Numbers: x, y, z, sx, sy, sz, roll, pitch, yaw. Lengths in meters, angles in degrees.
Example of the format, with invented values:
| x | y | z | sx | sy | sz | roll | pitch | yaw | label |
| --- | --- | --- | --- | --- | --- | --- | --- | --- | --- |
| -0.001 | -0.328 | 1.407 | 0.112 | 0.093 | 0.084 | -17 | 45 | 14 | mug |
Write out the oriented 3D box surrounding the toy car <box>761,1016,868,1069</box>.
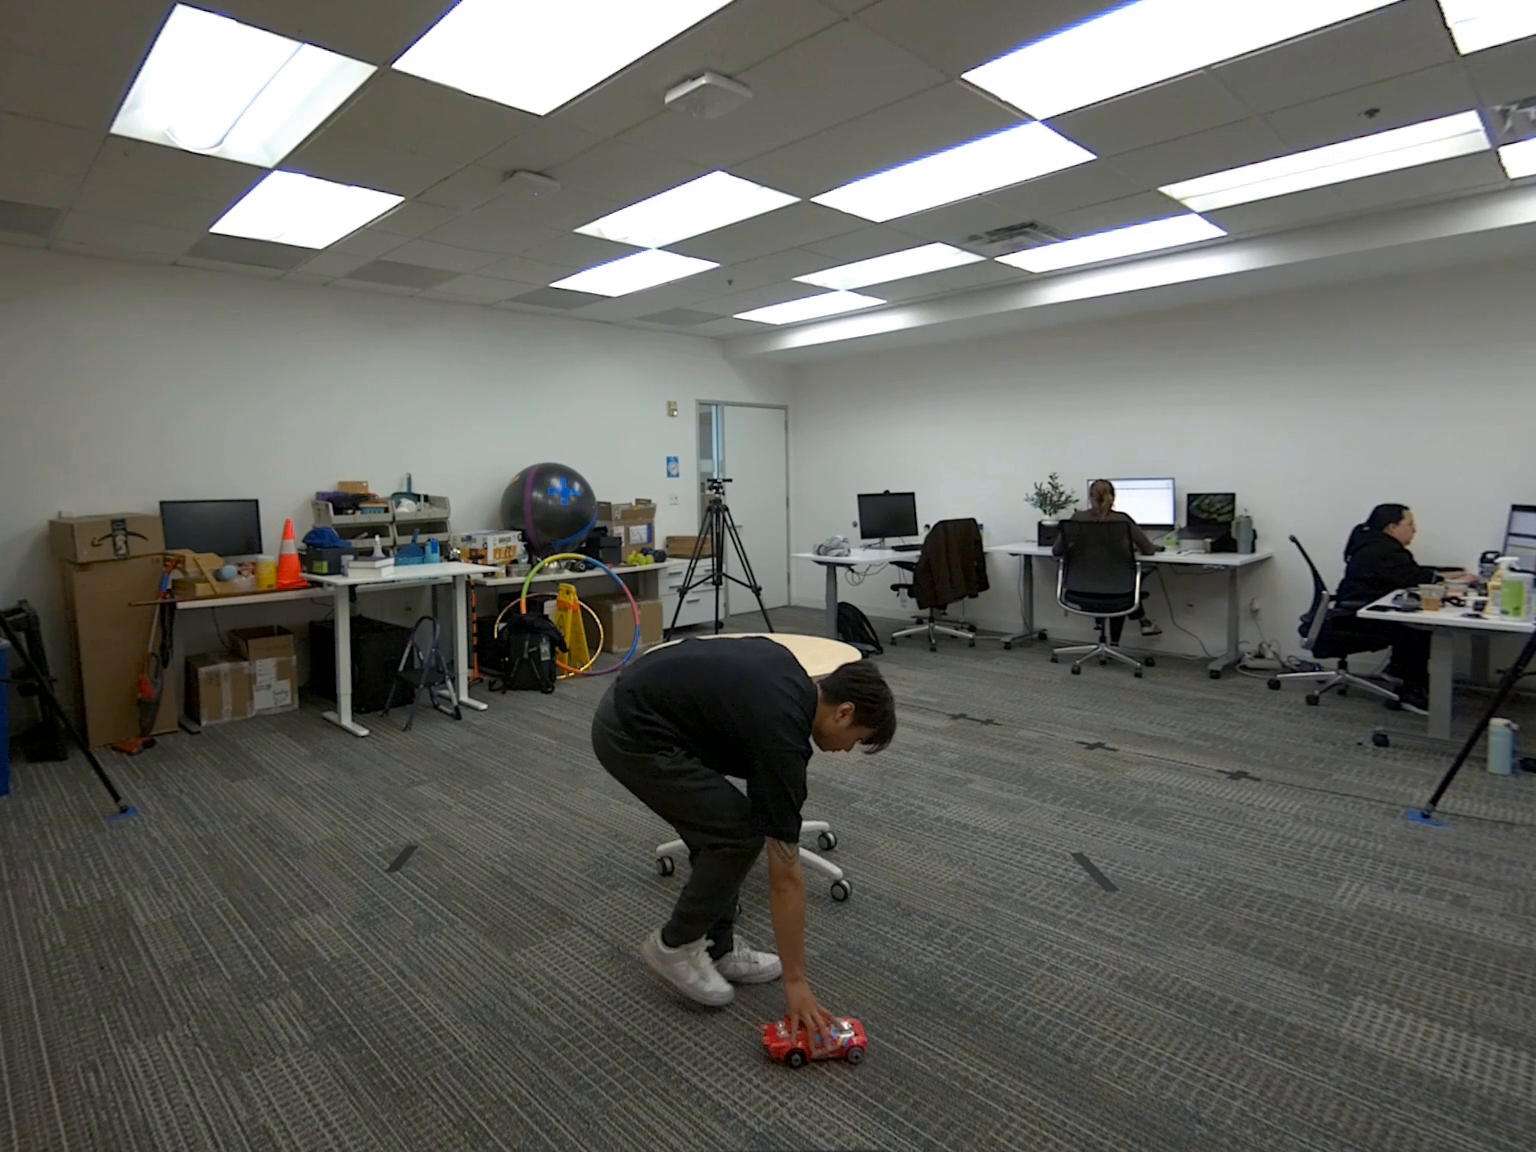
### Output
| x | y | z | sx | sy | sz | roll | pitch | yaw | label |
| --- | --- | --- | --- | --- | --- | --- | --- | --- | --- |
| 0.116 | 1.133 | 2.080 | 0.252 | 0.083 | 0.131 | 8 | 3 | -8 | toy car |
